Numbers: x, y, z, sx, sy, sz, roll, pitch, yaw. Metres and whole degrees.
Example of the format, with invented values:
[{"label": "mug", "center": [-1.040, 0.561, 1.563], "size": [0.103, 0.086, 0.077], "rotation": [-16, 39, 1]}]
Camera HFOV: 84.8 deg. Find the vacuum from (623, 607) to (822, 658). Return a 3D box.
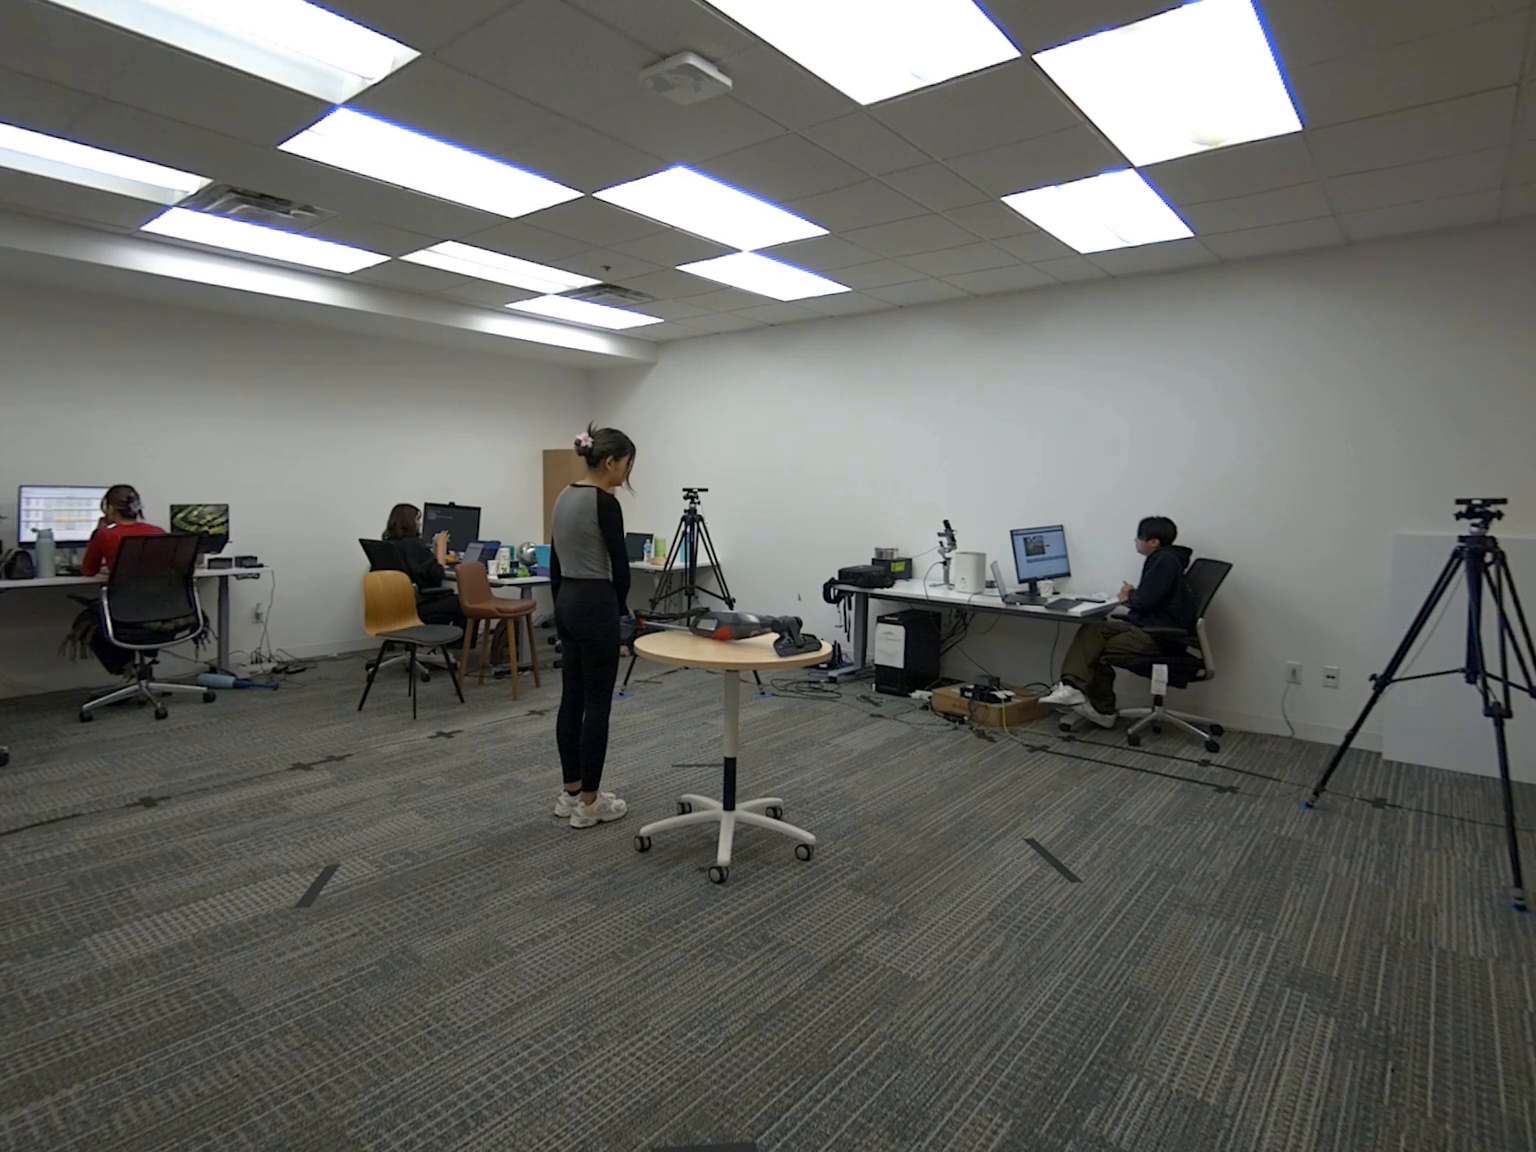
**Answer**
[{"label": "vacuum", "center": [-0.297, 0.185, 3.483], "size": [1.085, 0.144, 0.244], "rotation": [6, 4, 42]}]
